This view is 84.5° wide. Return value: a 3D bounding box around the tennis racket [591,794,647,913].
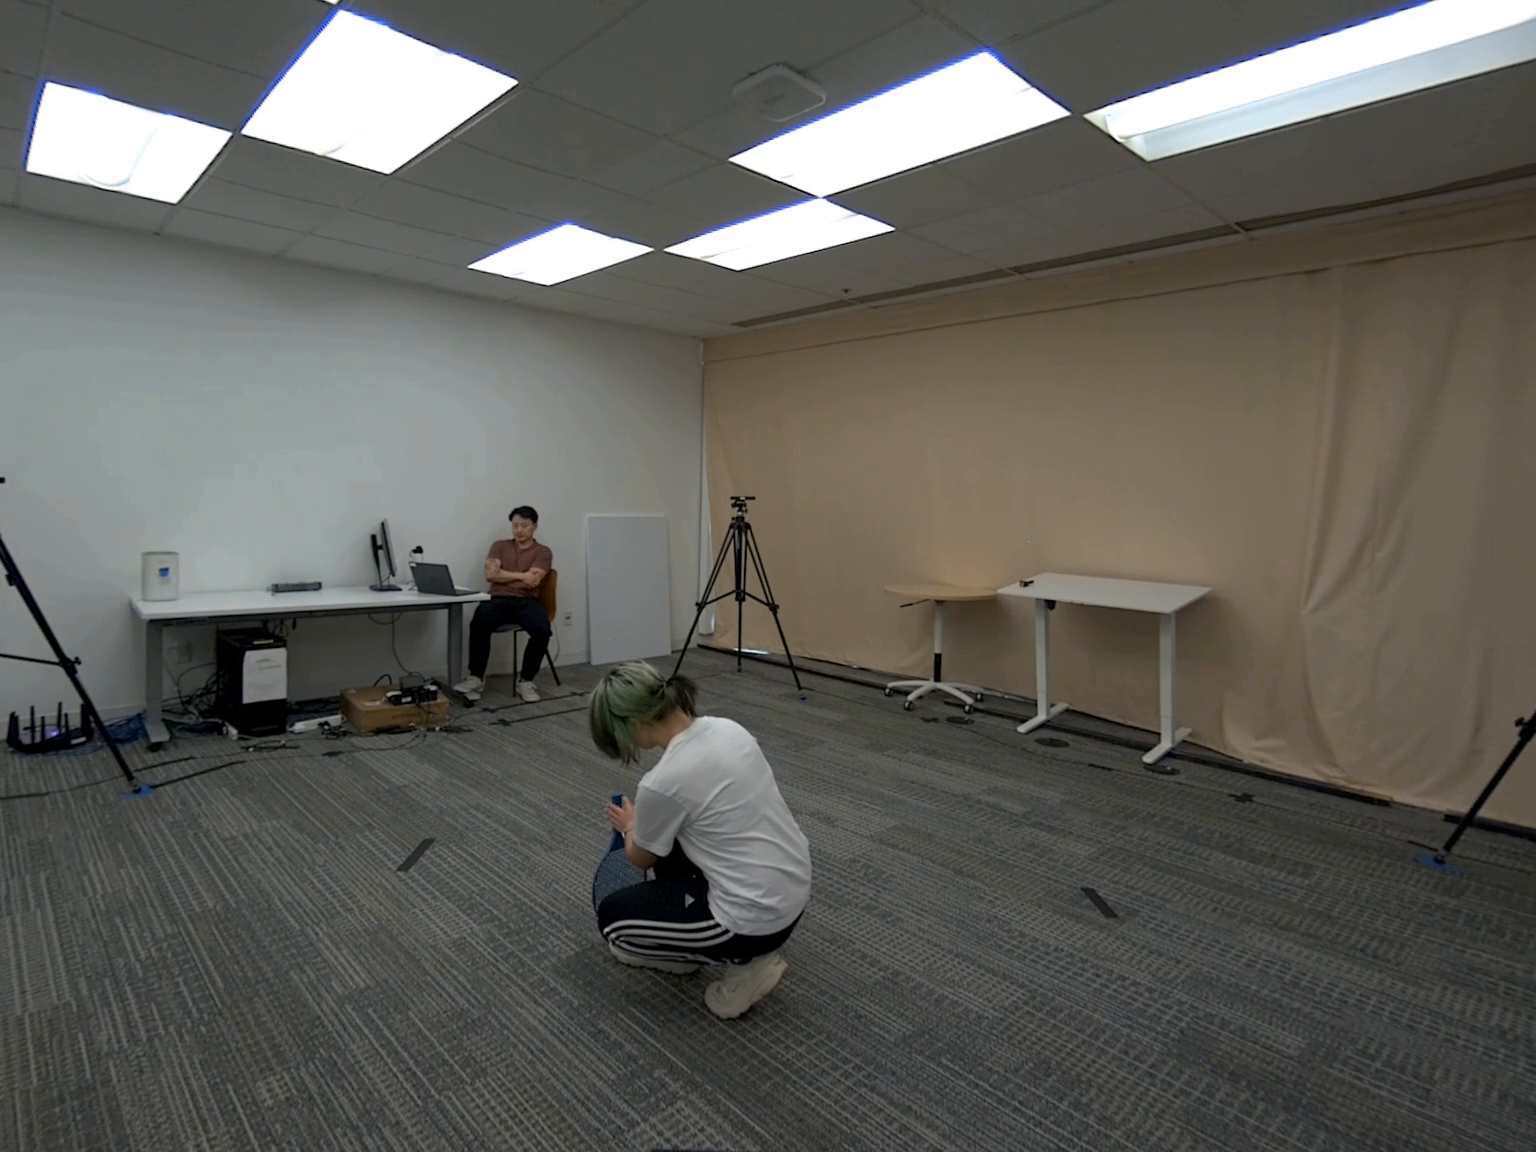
[{"bbox_3d":[-0.484,0.917,2.703,0.032,0.432,0.209,-1,2,43],"label":"tennis racket"}]
